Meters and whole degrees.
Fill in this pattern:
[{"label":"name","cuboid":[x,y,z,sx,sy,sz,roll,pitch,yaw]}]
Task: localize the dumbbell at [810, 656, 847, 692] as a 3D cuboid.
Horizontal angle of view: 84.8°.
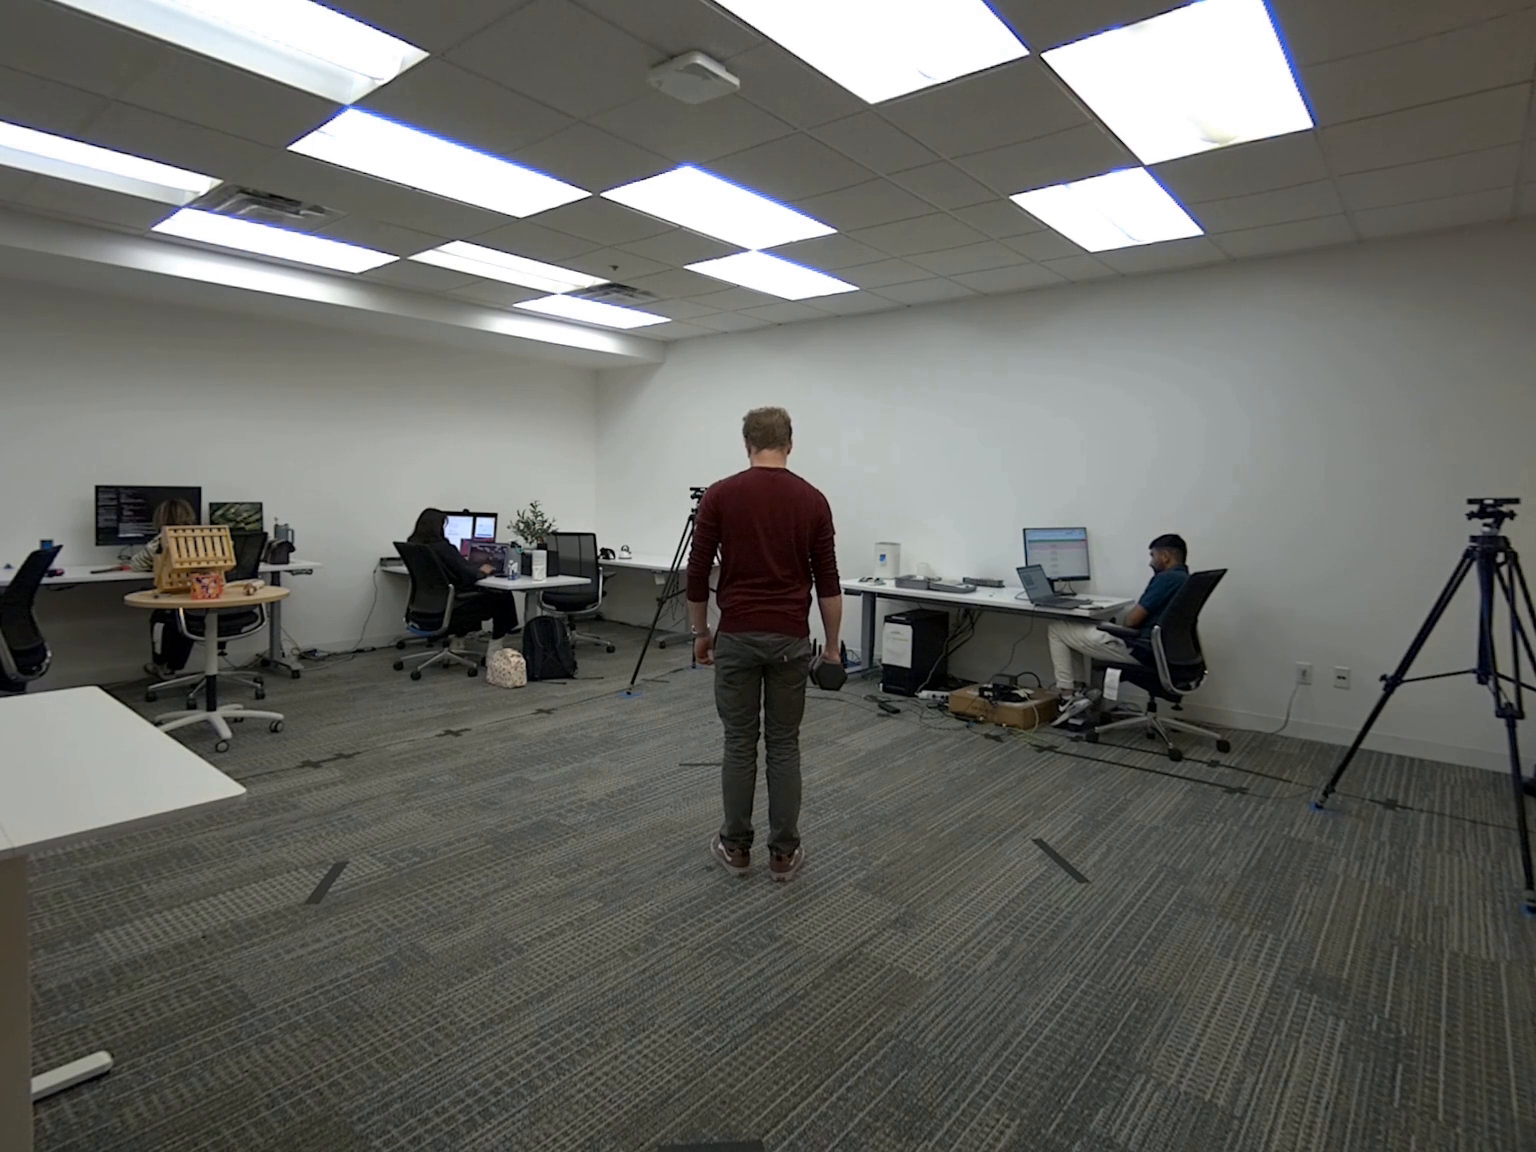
[{"label":"dumbbell","cuboid":[0.216,0.359,3.177,0.108,0.123,0.293,-25,-1,-3]}]
